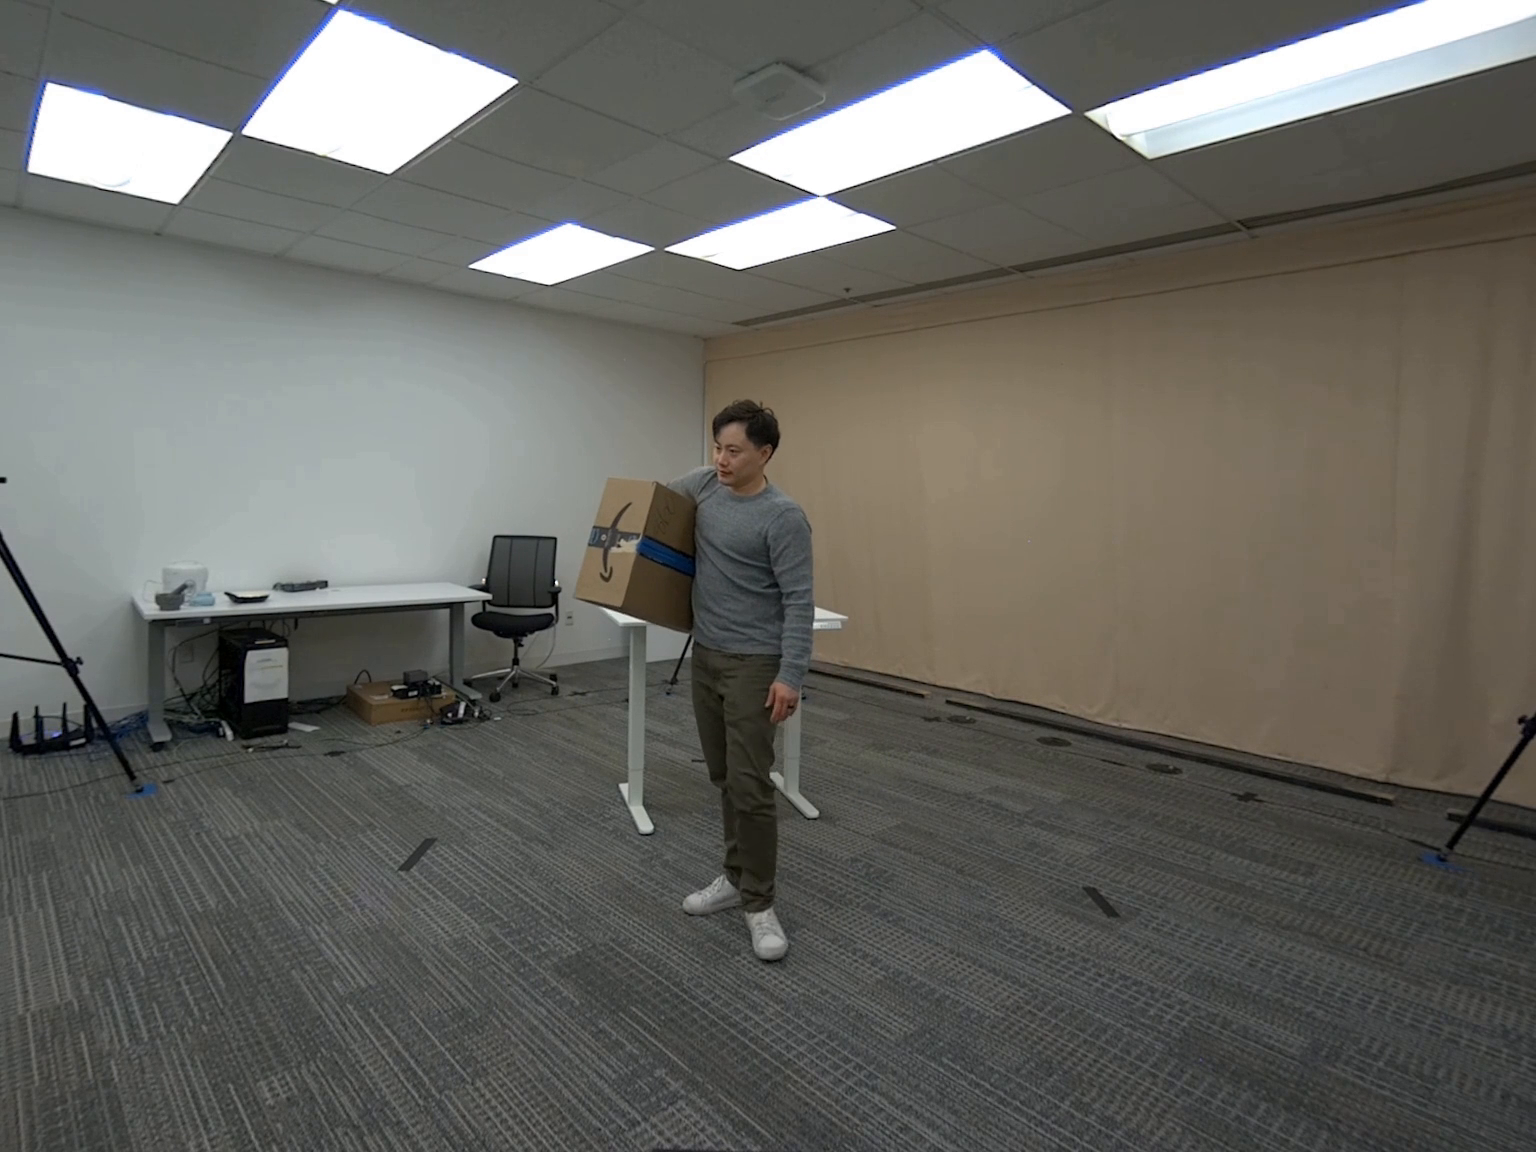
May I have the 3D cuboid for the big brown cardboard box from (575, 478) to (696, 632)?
[{"bbox_3d":[-0.352,-0.044,2.900,0.239,0.419,0.572,8,-10,33],"label":"big brown cardboard box"}]
